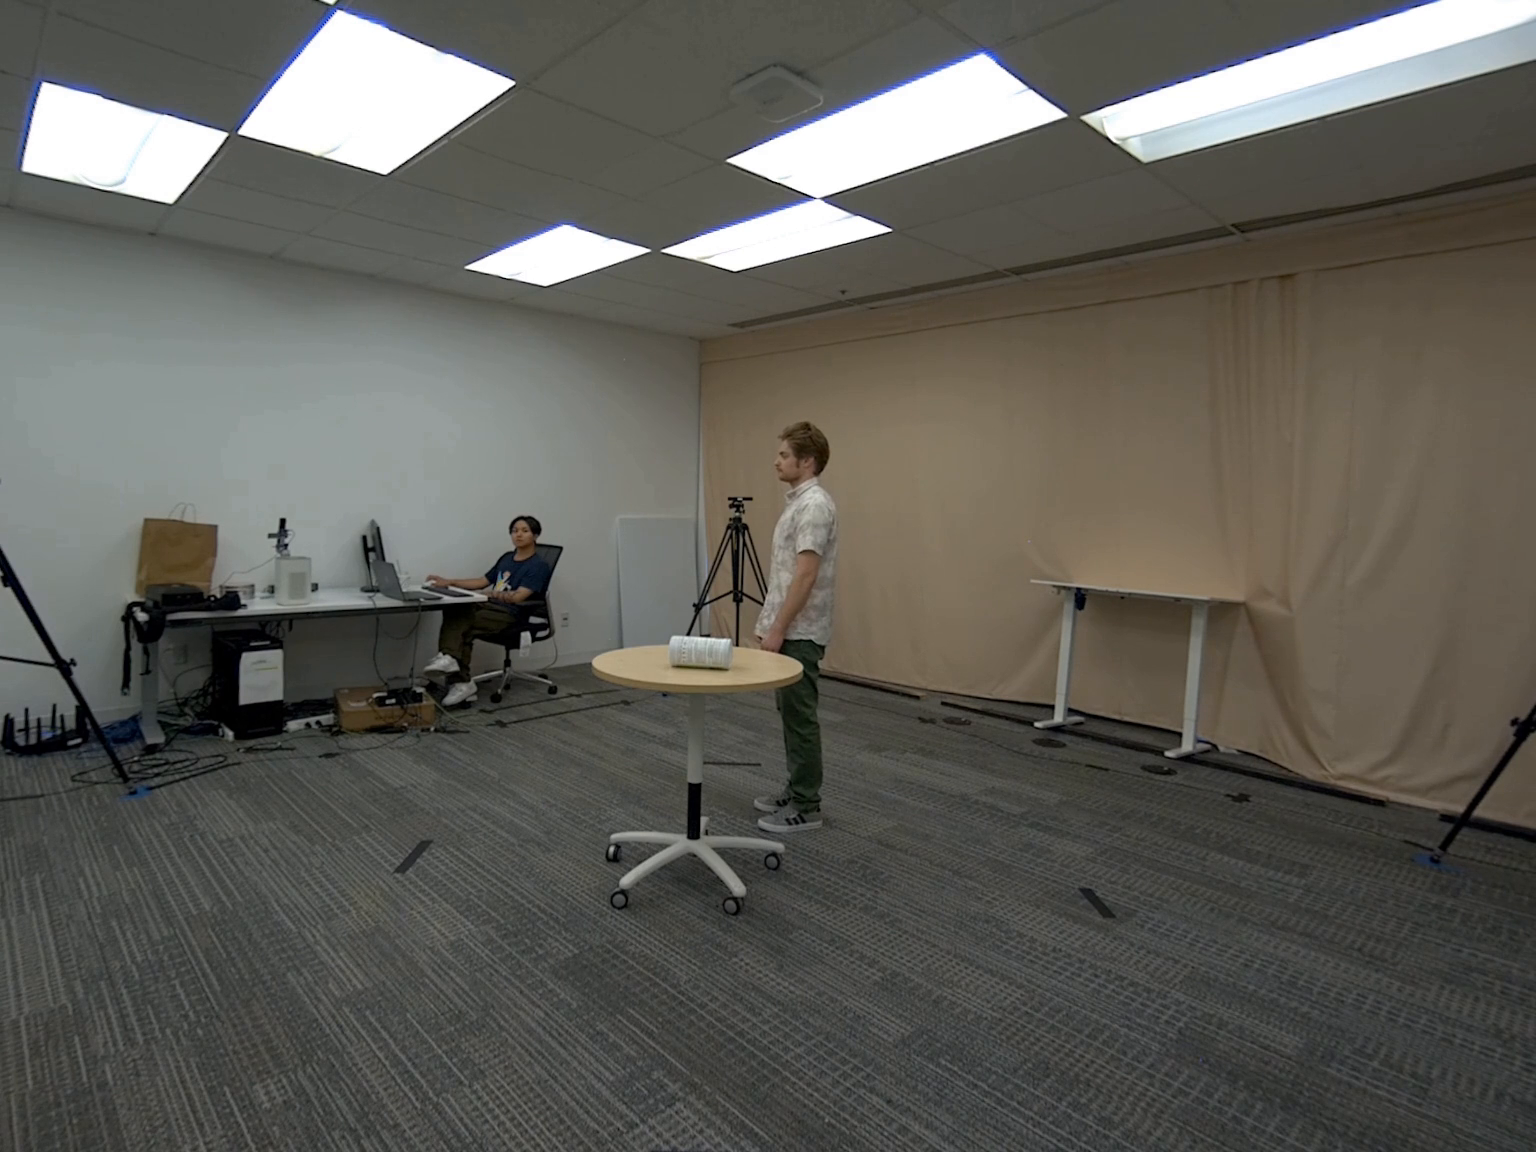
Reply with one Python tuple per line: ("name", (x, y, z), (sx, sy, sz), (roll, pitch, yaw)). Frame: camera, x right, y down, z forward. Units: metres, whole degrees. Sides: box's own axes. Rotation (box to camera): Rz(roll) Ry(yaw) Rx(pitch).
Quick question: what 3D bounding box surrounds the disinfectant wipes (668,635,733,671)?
("disinfectant wipes", (-0.242, 0.270, 2.971), (0.218, 0.117, 0.117), (2, 4, 6))
